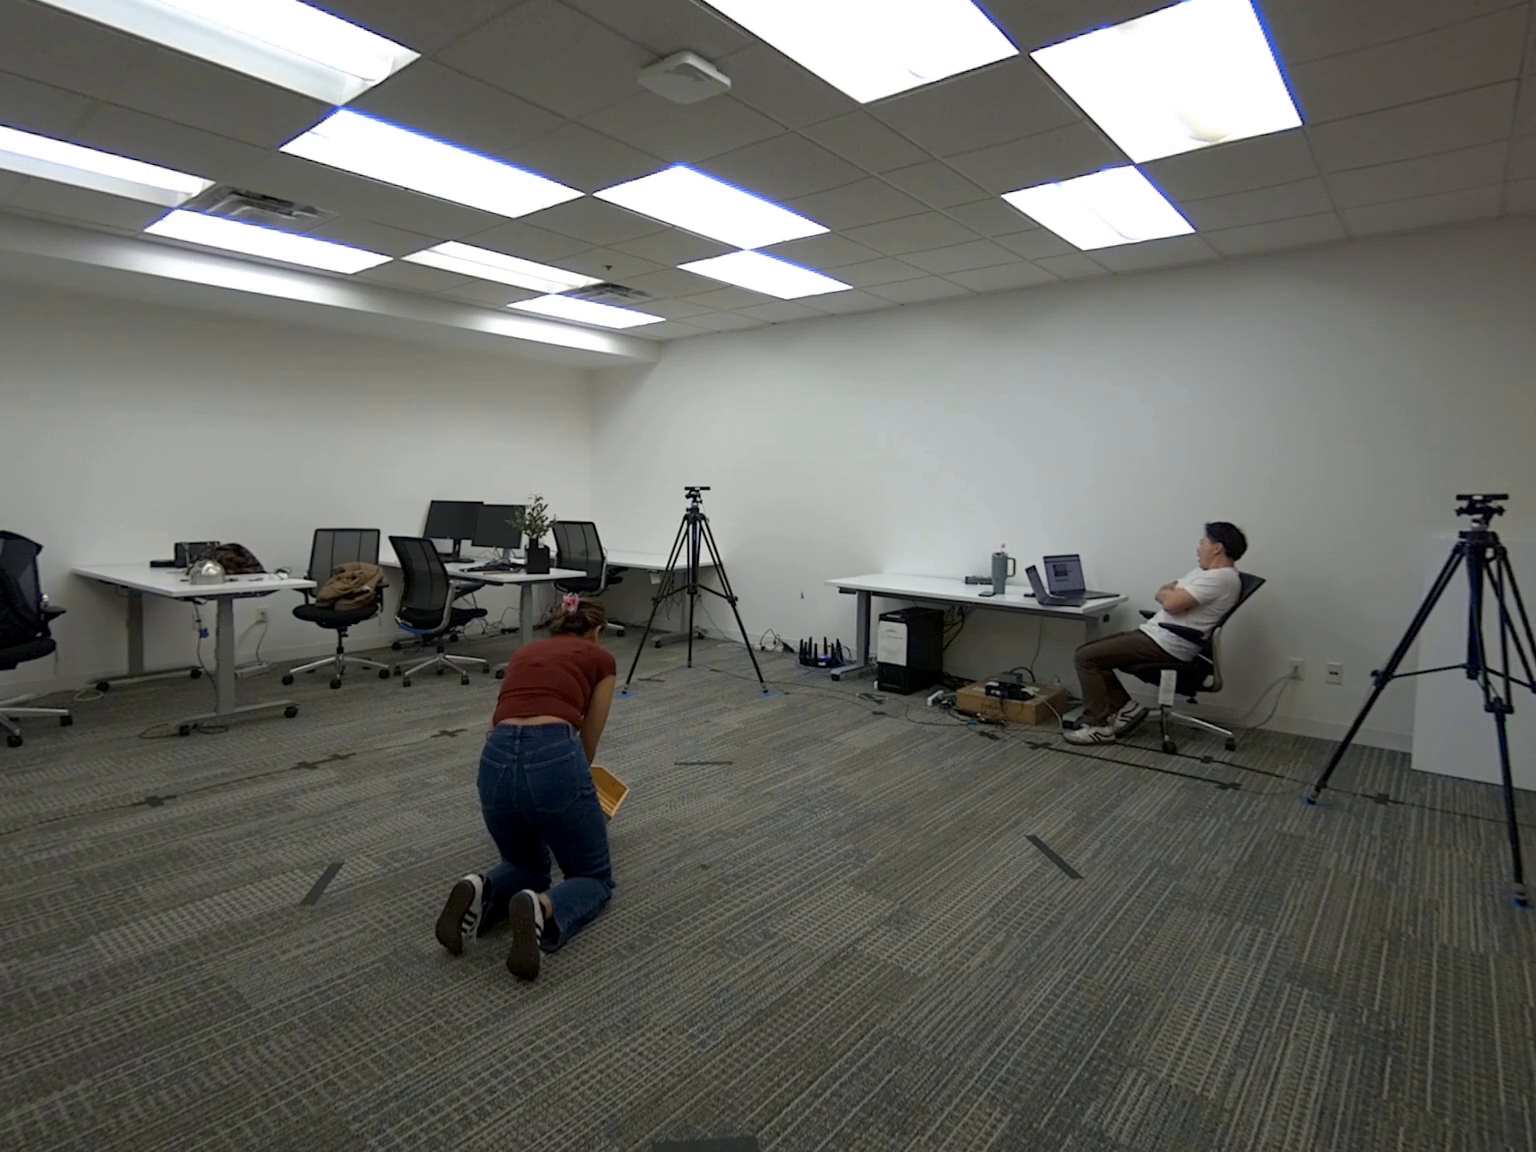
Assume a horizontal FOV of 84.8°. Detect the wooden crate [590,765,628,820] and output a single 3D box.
[{"bbox_3d":[-0.760,0.874,3.285,0.303,0.273,0.323,38,6,1],"label":"wooden crate"}]
